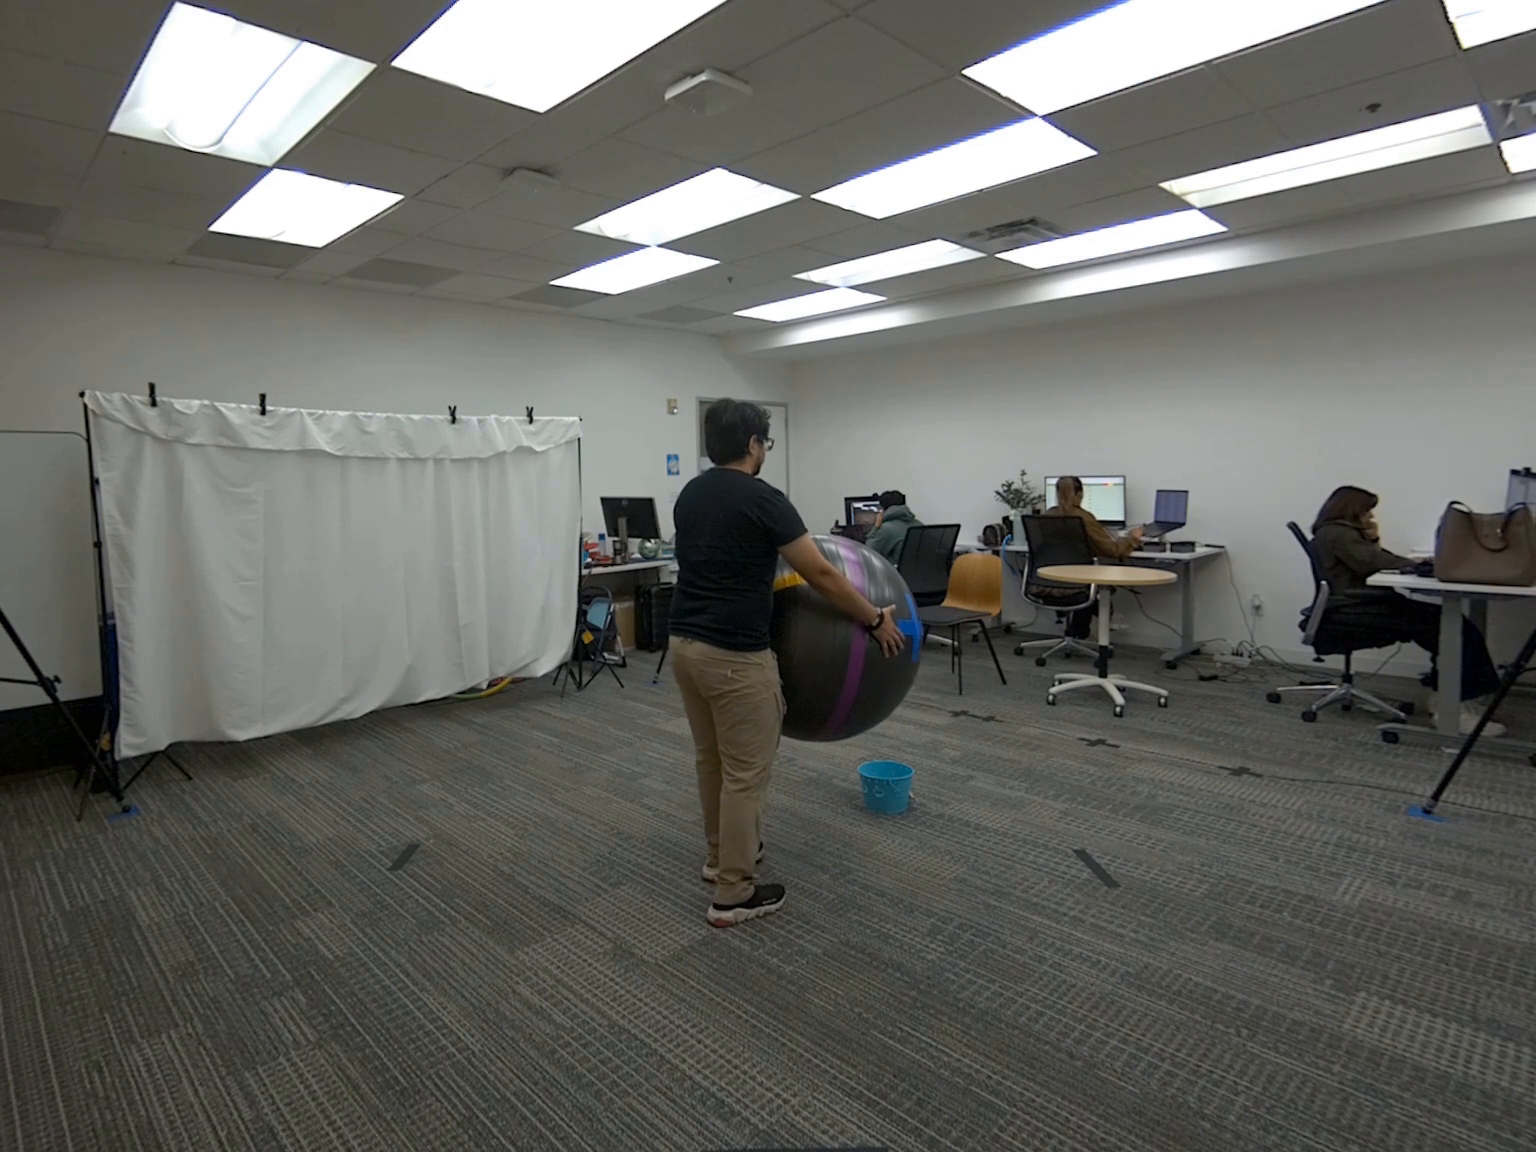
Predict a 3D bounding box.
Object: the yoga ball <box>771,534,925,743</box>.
[{"bbox_3d":[0.182,0.230,3.164,0.757,0.755,0.762,-1,5,-2],"label":"yoga ball"}]
